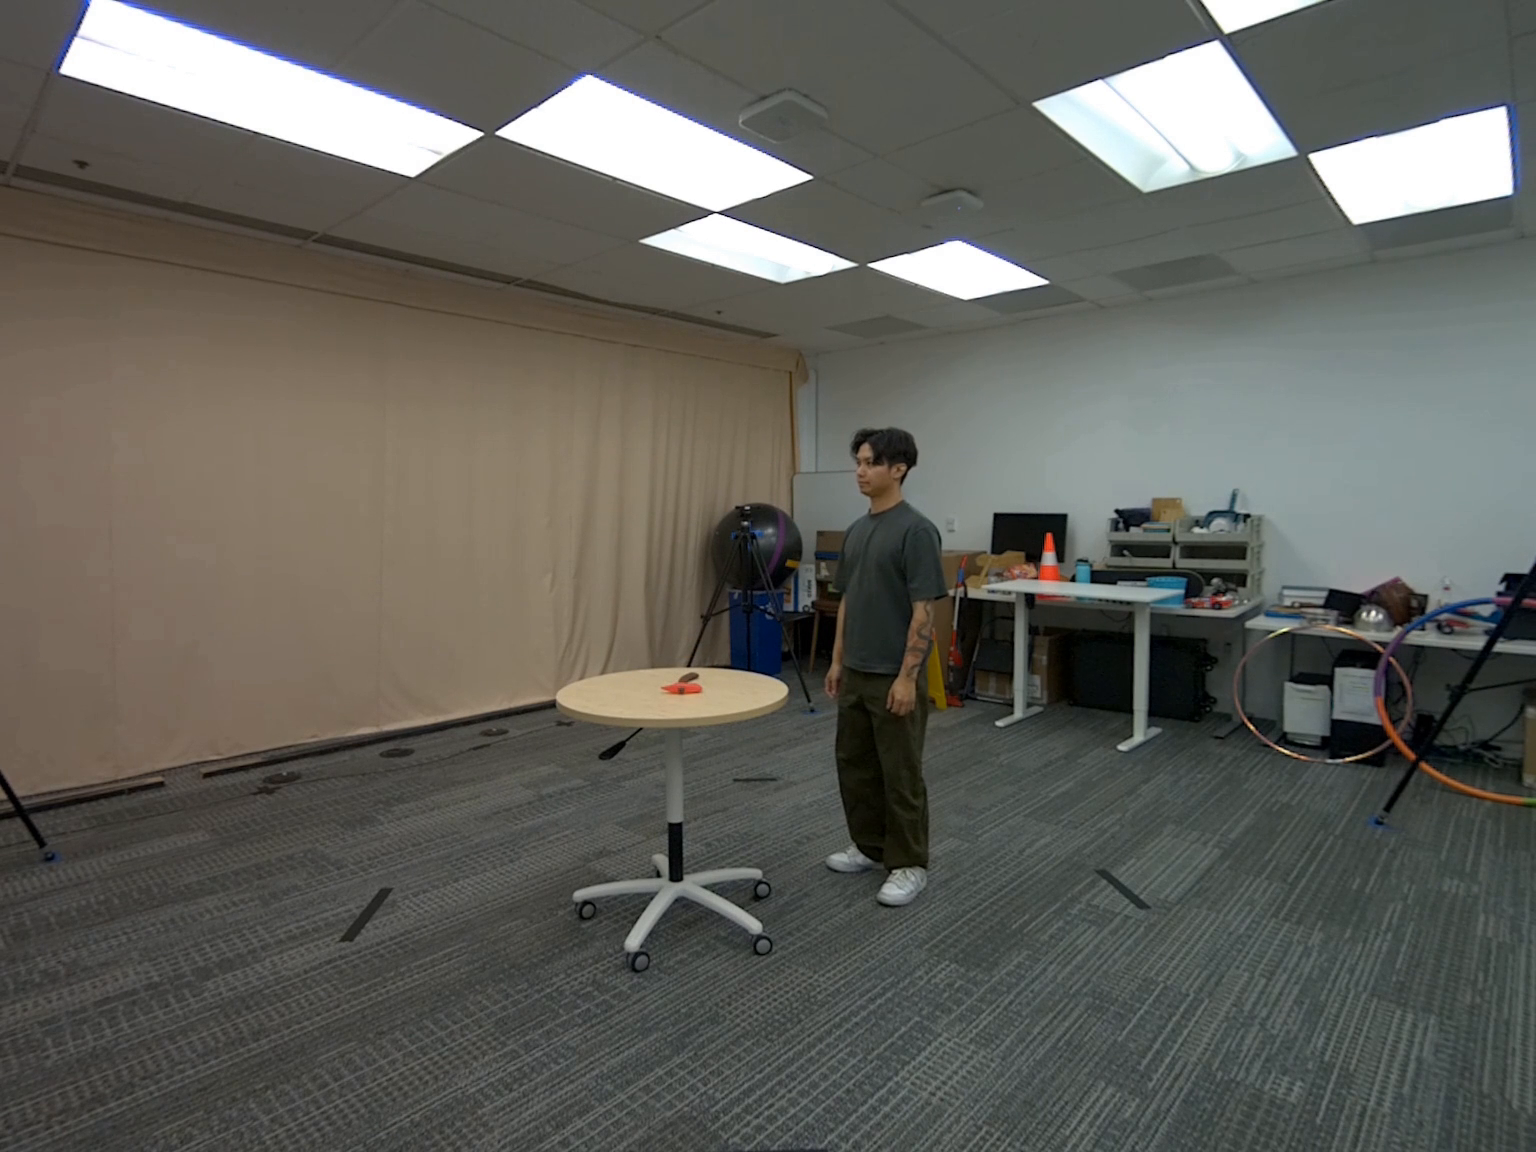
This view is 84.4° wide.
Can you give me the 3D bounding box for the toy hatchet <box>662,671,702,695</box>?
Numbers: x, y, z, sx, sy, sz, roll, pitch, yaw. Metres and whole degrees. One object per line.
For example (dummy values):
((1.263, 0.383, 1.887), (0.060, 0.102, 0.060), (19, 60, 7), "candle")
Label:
((-0.258, 0.364, 2.843), (0.133, 0.029, 0.265), (1, 4, 16), "toy hatchet")
